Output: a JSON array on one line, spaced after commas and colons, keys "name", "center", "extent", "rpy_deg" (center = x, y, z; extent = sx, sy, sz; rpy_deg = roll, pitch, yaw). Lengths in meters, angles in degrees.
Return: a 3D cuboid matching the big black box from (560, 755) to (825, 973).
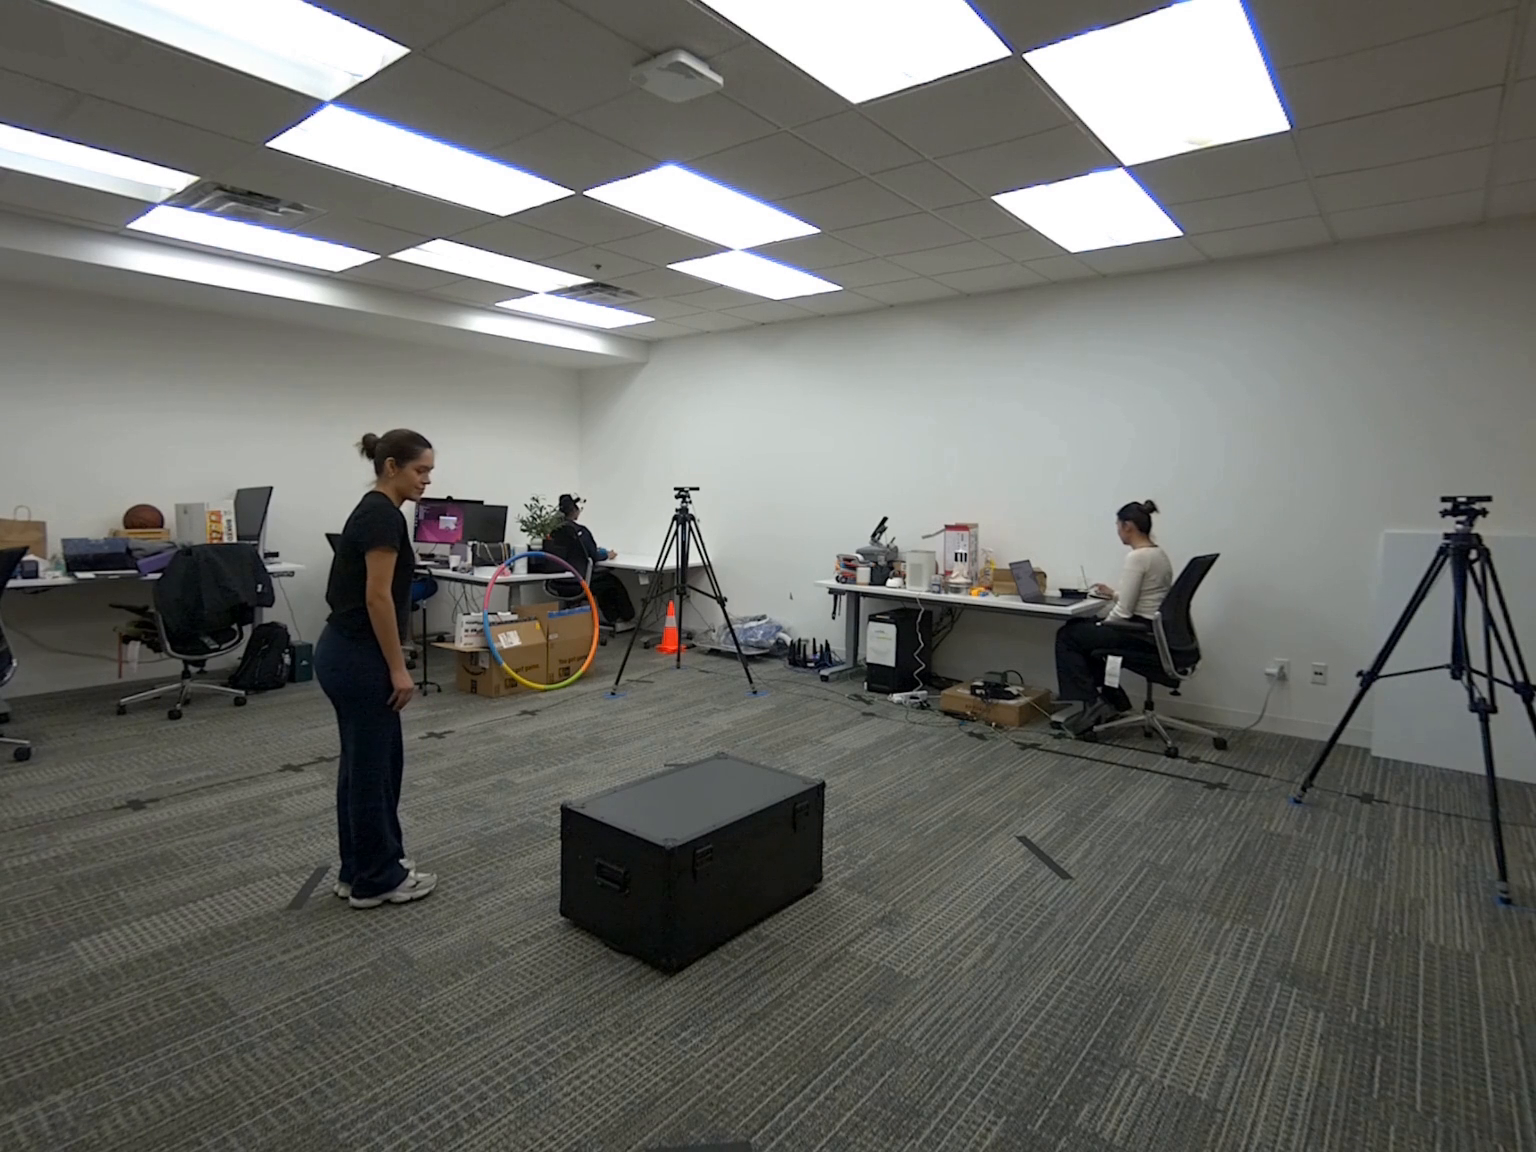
[{"name": "big black box", "center": [-0.203, 0.899, 2.860], "extent": [0.539, 0.395, 0.836], "rpy_deg": [5, 7, 39]}]
